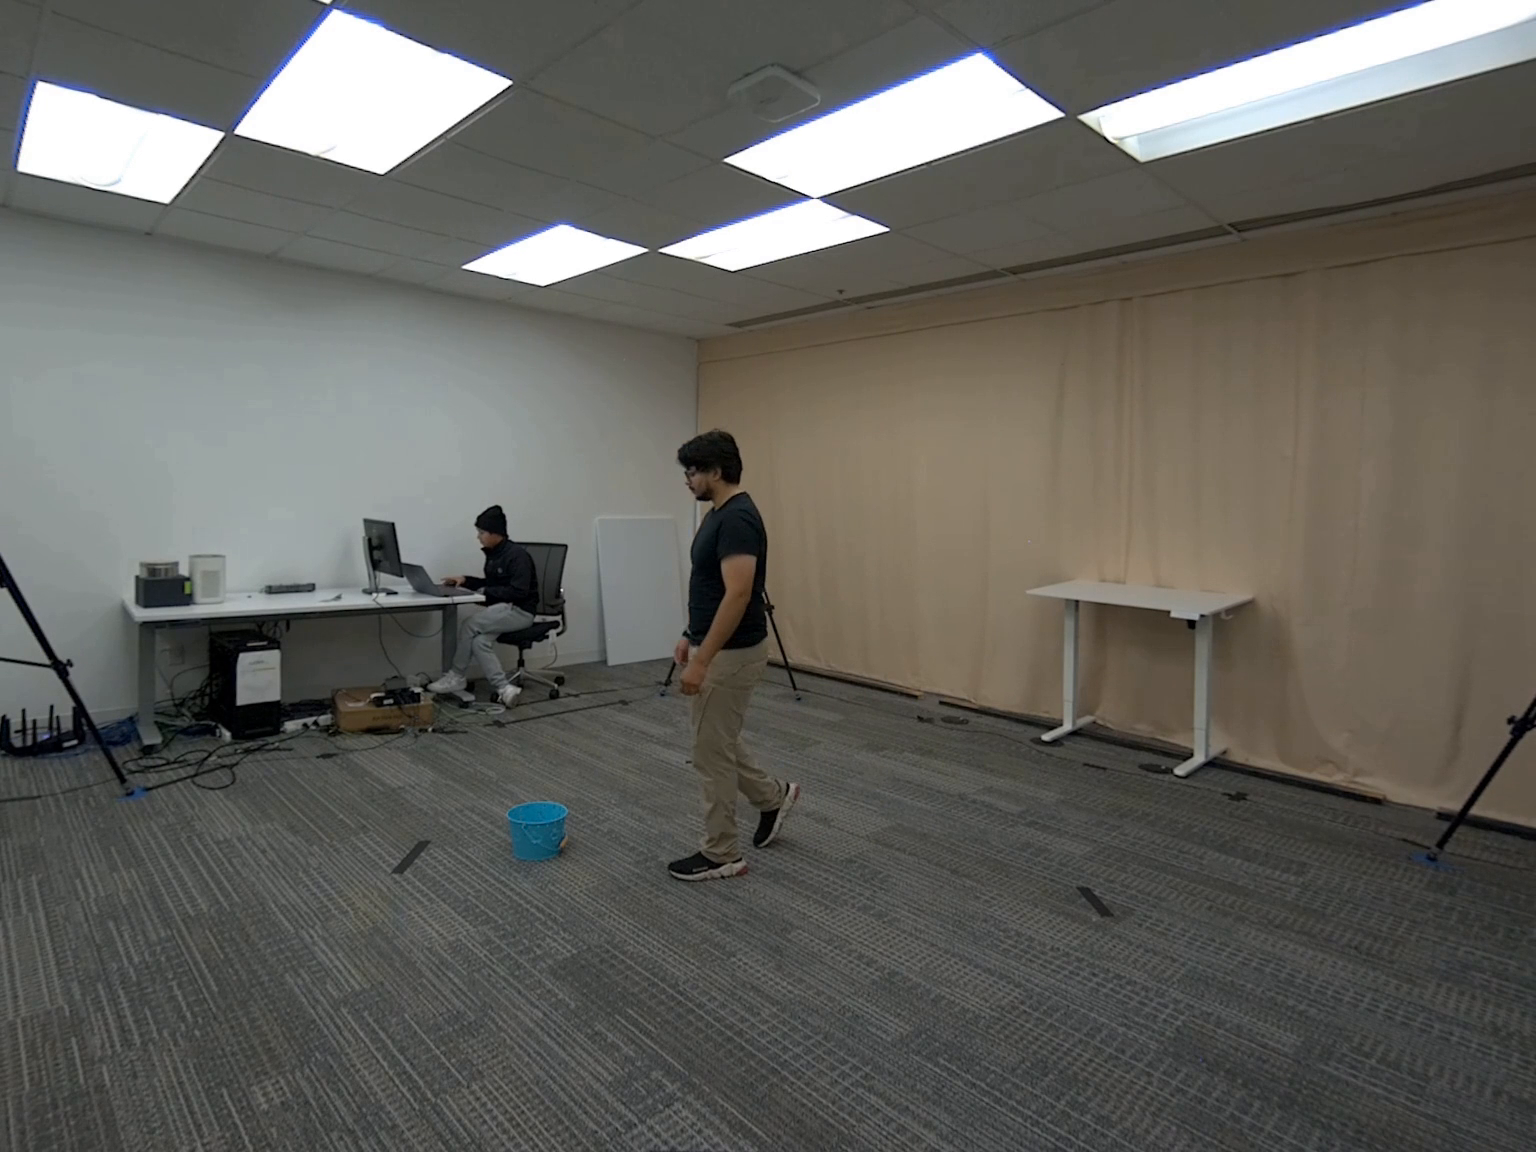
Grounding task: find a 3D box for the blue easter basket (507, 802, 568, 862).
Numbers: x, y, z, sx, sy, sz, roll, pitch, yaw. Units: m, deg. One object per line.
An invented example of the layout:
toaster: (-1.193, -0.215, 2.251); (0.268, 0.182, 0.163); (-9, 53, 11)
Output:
blue easter basket: (-0.903, 0.995, 3.284); (0.243, 0.155, 0.244); (1, 4, -1)
